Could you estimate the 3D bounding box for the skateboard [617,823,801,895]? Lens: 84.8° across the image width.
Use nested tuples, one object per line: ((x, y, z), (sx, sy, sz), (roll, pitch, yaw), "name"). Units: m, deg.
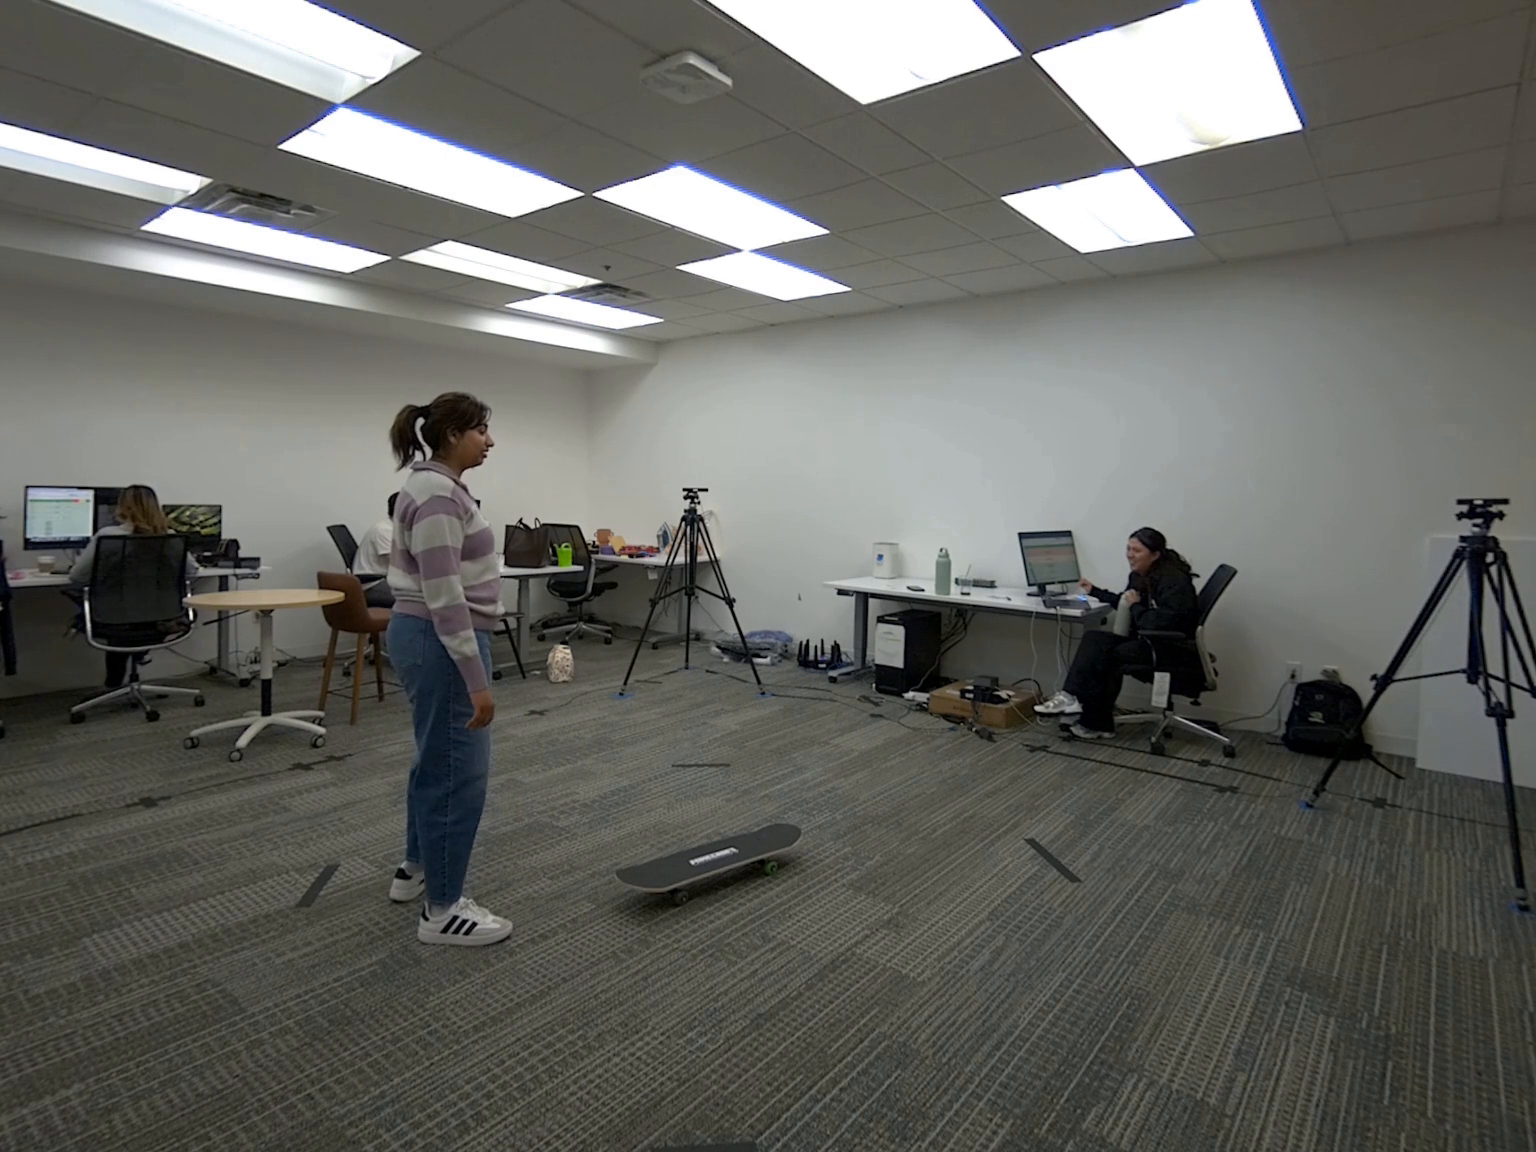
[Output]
((-0.198, 1.026, 3.009), (0.762, 0.110, 0.200), (-4, 8, -39), "skateboard")
